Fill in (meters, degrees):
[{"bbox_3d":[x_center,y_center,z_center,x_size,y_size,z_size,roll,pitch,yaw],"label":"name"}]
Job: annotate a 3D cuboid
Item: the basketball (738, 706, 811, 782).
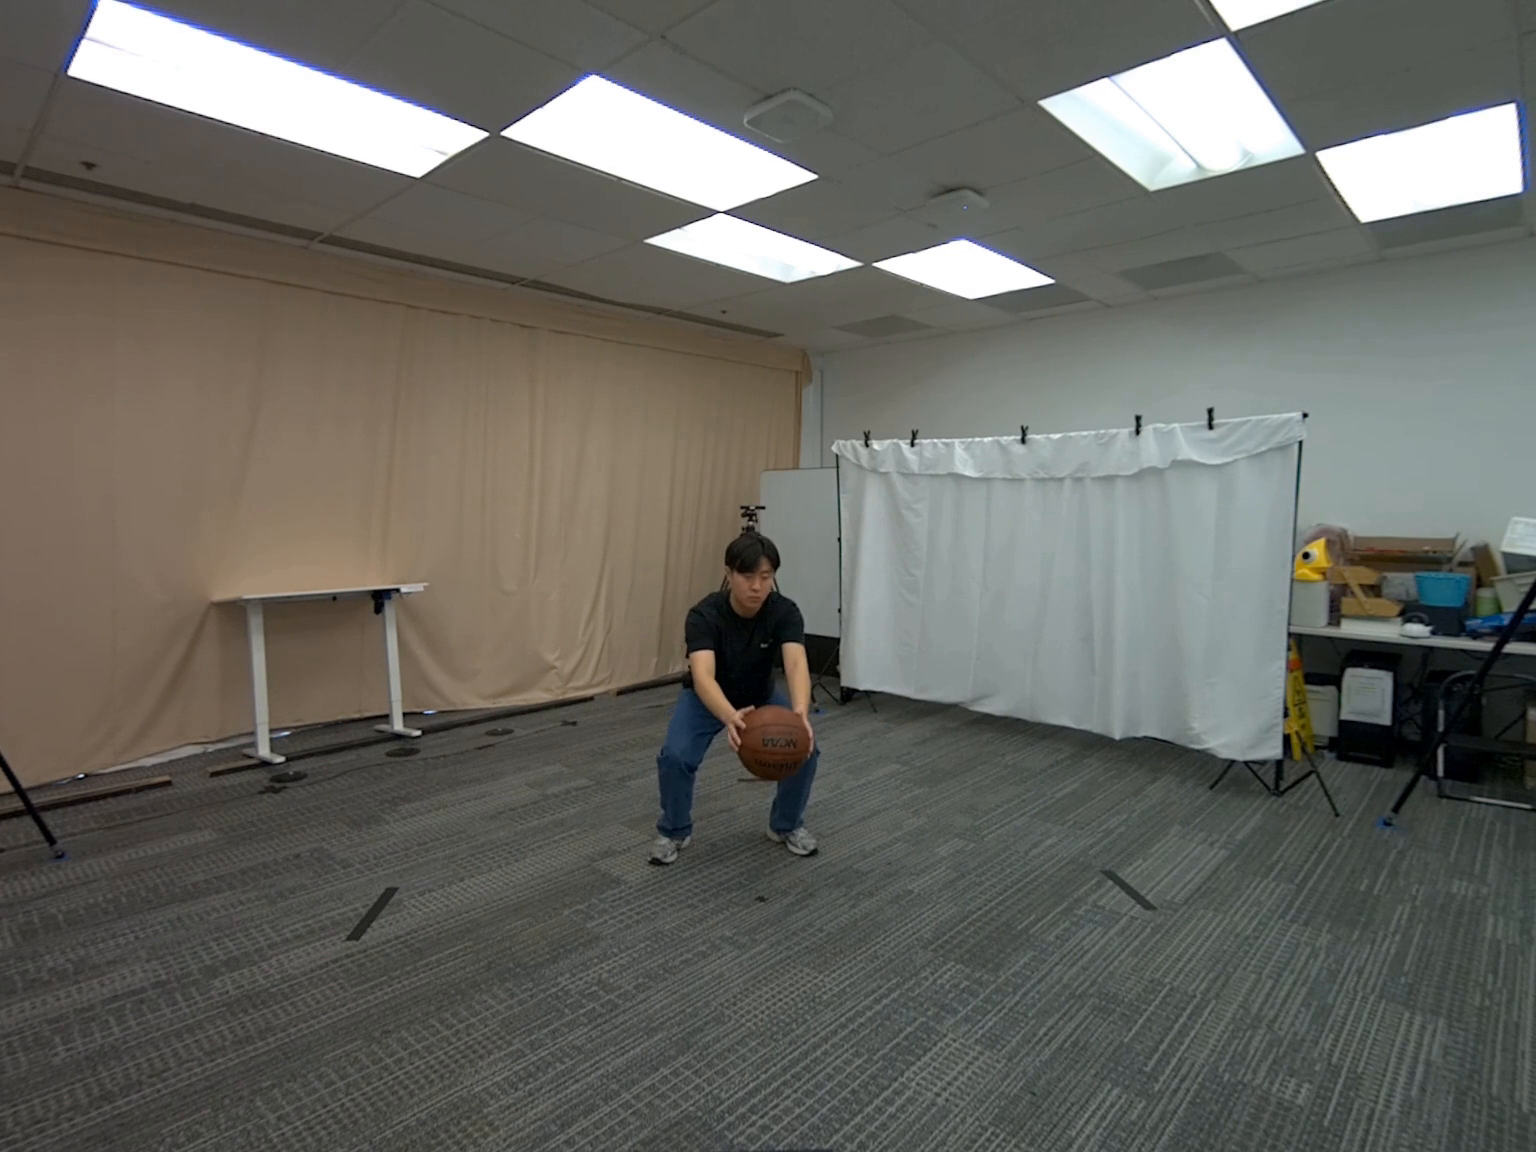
[{"bbox_3d":[0.016,0.537,2.737,0.236,0.235,0.237,0,4,-2],"label":"basketball"}]
